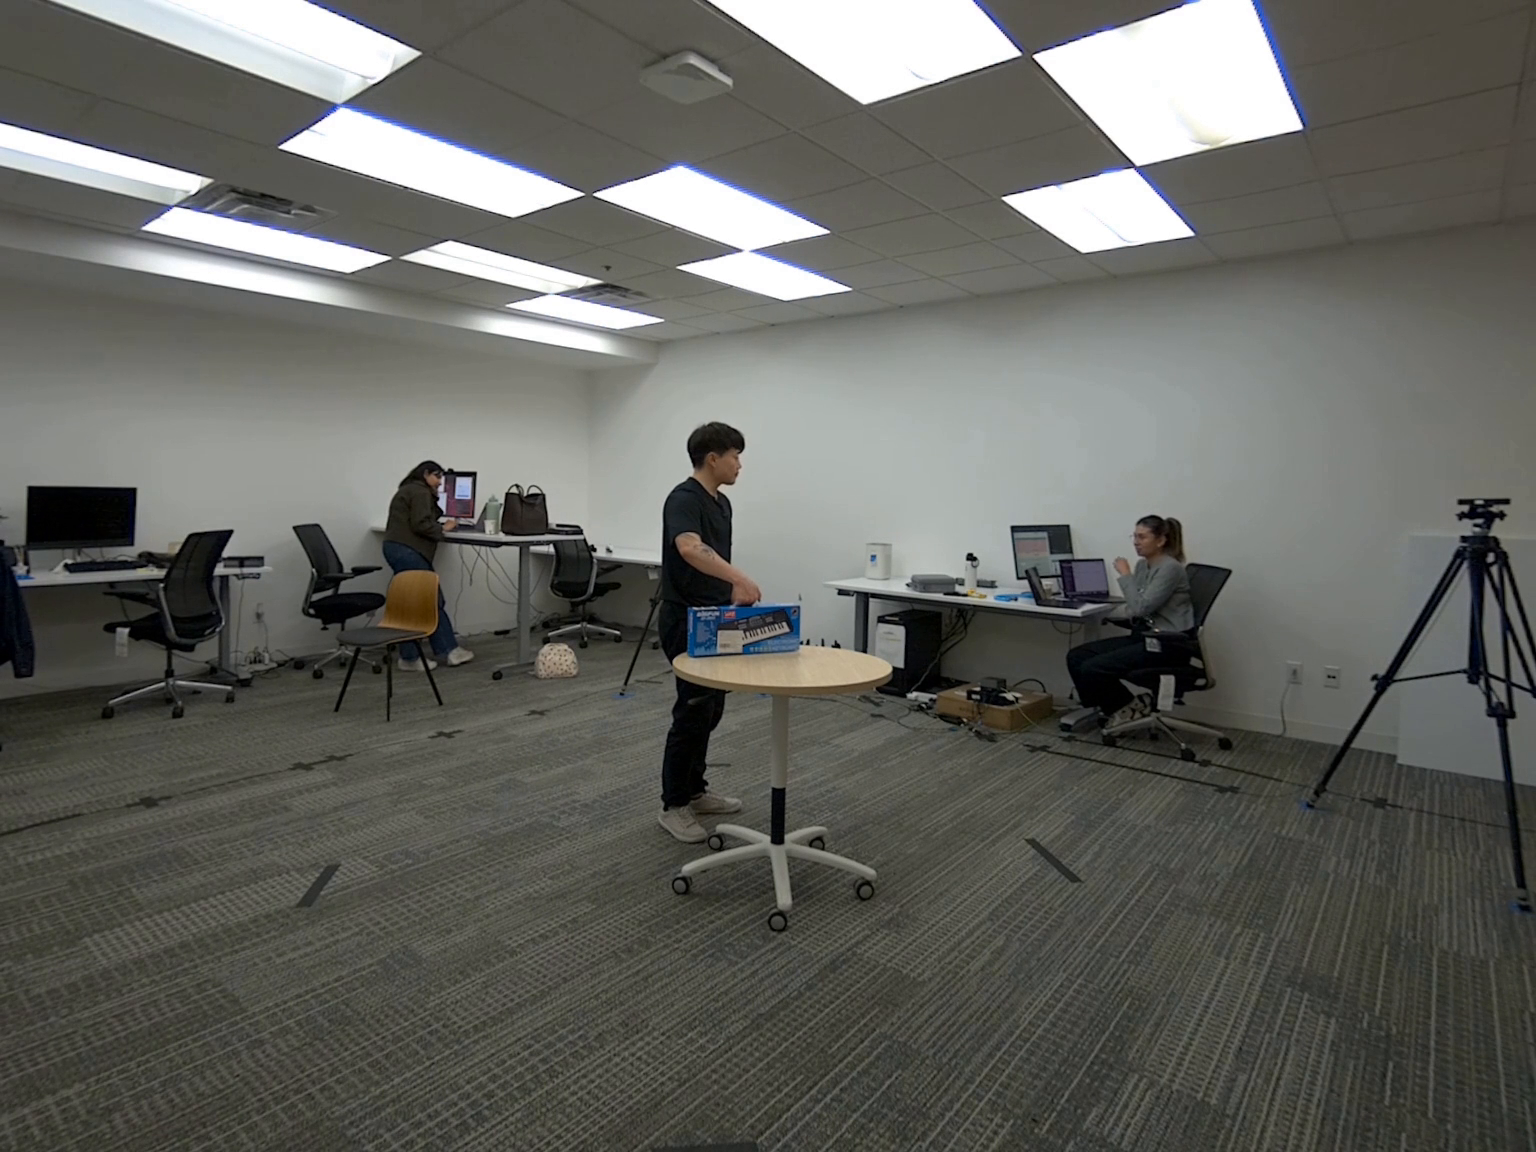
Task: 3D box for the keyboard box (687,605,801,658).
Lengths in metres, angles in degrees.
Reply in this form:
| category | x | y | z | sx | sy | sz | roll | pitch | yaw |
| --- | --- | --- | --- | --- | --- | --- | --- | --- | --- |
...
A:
| category | x | y | z | sx | sy | sz | roll | pitch | yaw |
| --- | --- | --- | --- | --- | --- | --- | --- | --- | --- |
| keyboard box | -0.095 | 0.195 | 3.152 | 0.427 | 0.175 | 0.061 | -2 | 4 | -23 |
